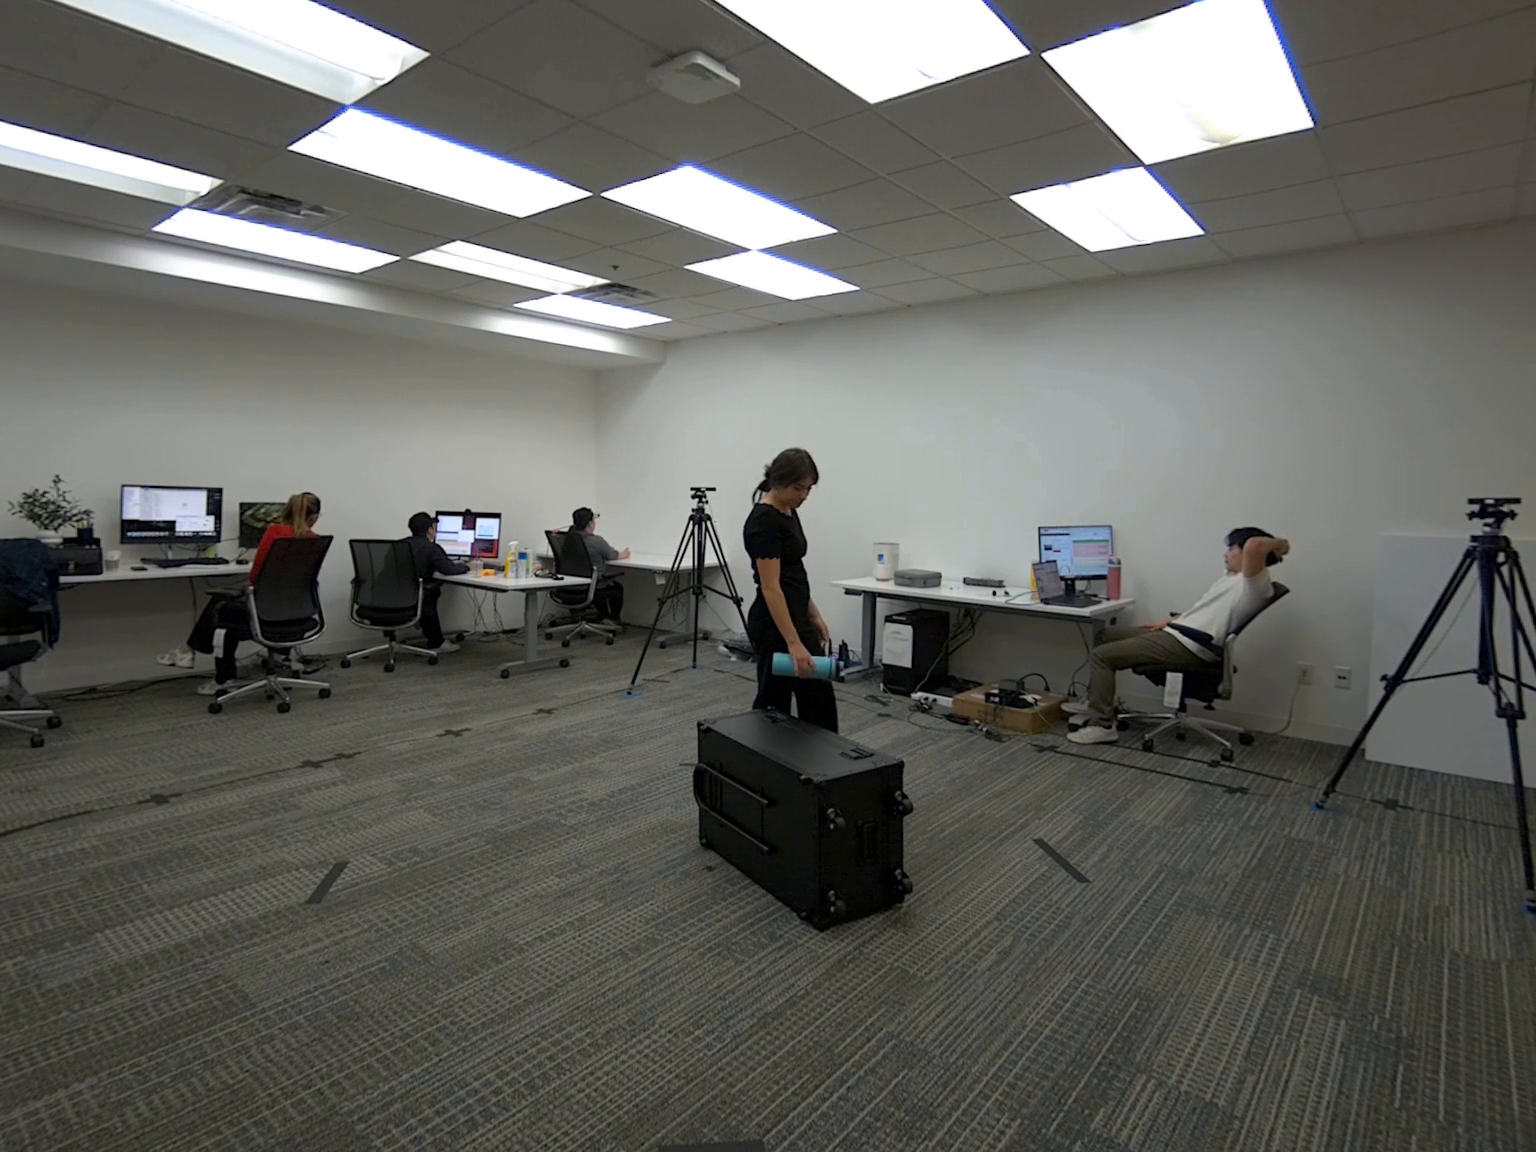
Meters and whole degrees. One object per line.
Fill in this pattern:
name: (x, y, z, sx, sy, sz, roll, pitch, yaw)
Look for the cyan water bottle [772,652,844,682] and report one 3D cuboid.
cyan water bottle: (0.147, 0.366, 3.455, 0.284, 0.092, 0.092, 6, 4, 3)
